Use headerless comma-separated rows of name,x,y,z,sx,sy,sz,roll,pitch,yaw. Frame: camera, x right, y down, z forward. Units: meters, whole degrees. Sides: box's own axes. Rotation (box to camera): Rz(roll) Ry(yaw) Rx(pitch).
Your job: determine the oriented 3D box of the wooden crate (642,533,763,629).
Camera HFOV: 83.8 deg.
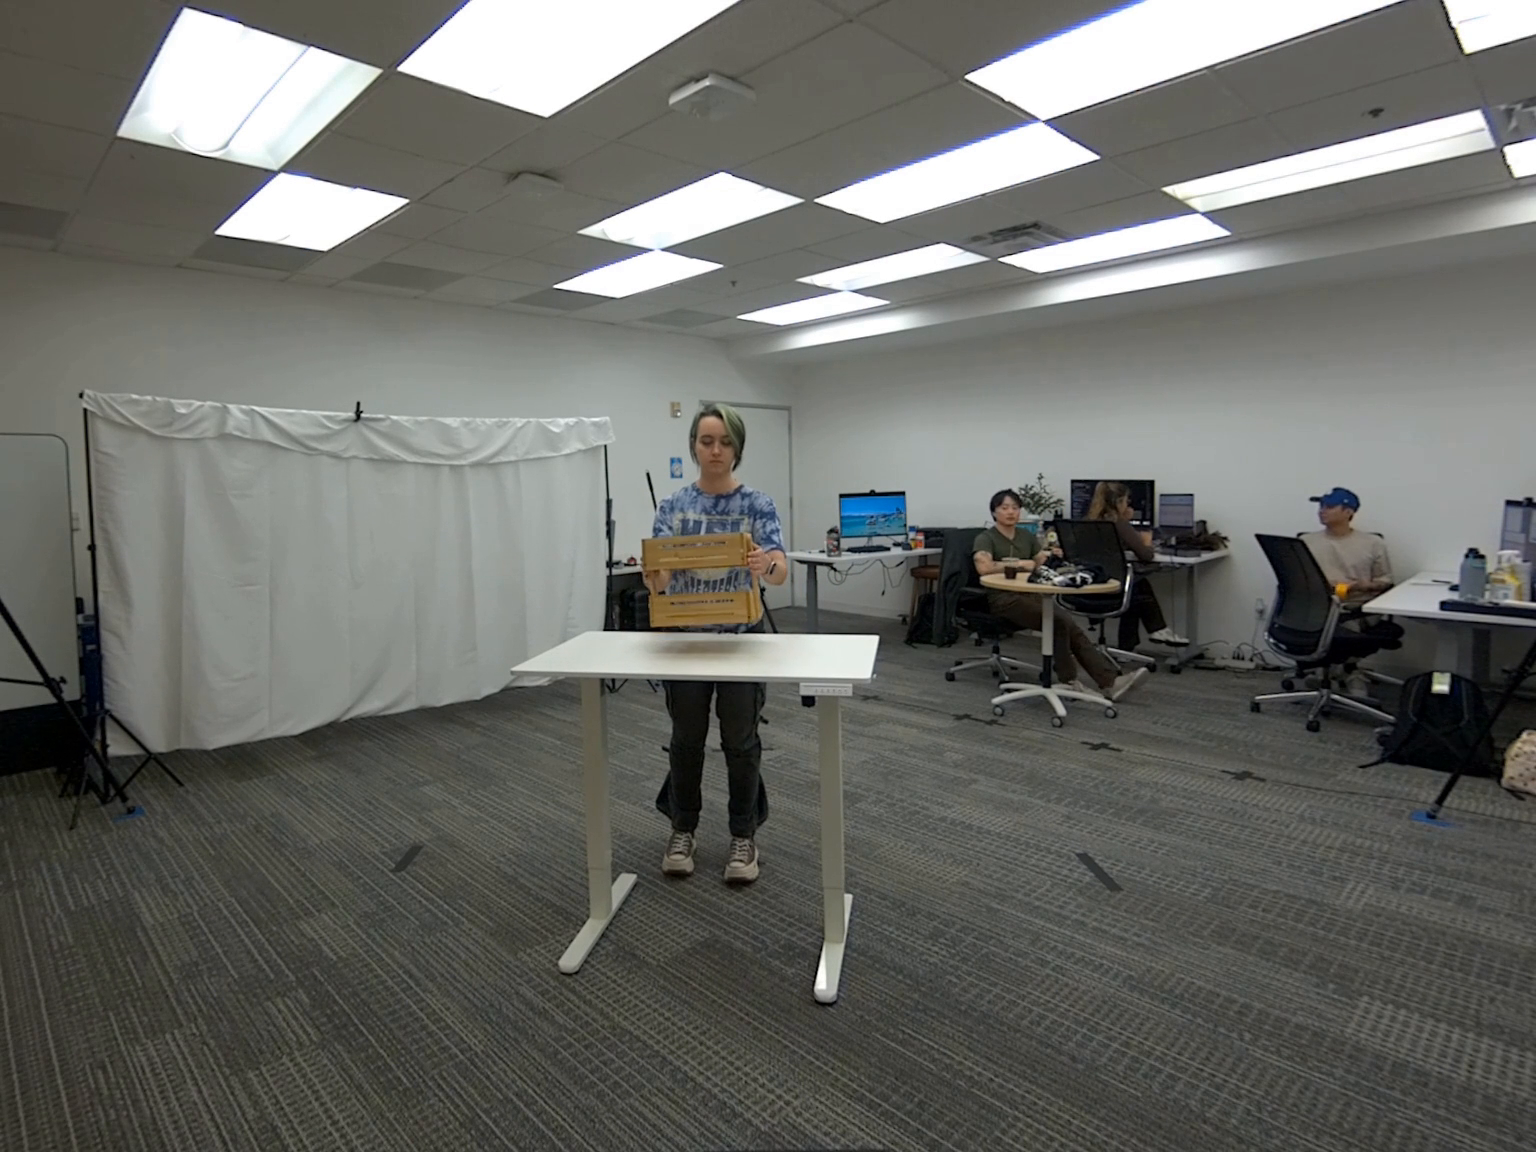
wooden crate,-0.202,0.017,2.600,0.327,0.274,0.298,-4,-3,8
